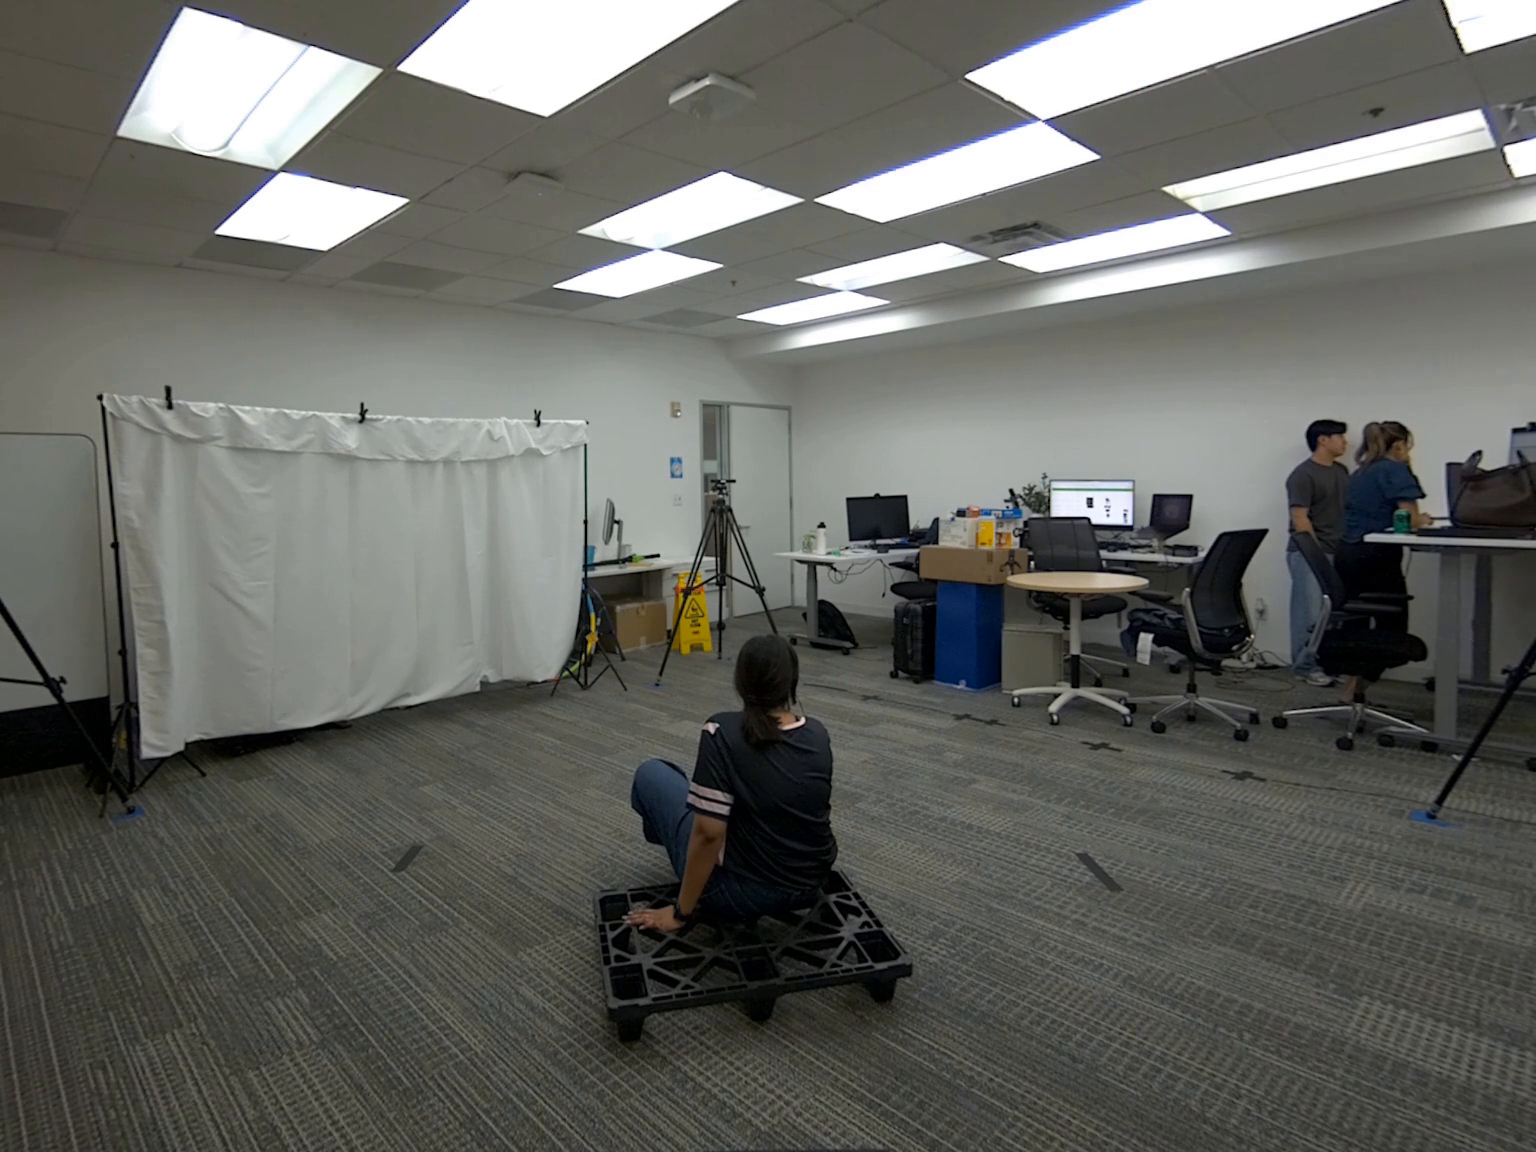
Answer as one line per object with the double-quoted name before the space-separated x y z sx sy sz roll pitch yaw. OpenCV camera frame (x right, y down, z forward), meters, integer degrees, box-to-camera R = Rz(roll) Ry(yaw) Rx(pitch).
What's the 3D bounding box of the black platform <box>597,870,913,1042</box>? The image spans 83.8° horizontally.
"black platform" -0.081 1.058 2.434 0.796 0.142 0.615 -2 7 -12
